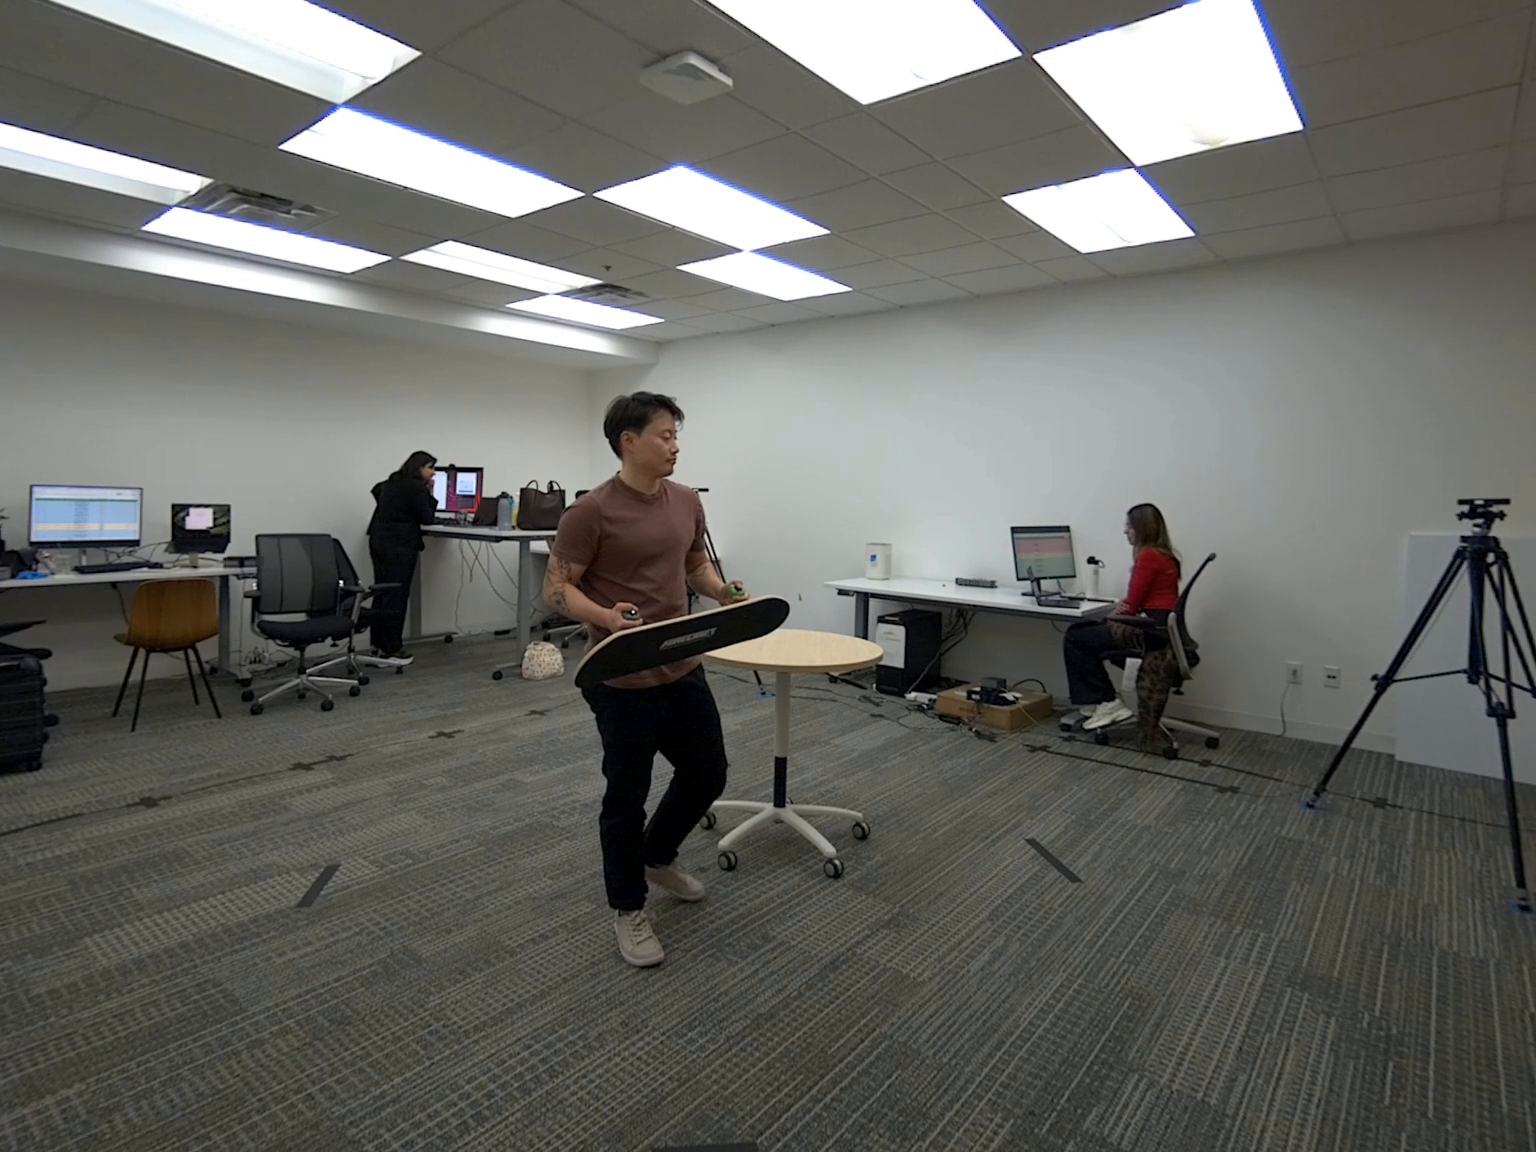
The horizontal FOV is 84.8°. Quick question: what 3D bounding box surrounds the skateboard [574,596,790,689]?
[{"bbox_3d":[-0.250,0.157,2.466,0.765,0.191,0.114,-11,49,-40],"label":"skateboard"}]
